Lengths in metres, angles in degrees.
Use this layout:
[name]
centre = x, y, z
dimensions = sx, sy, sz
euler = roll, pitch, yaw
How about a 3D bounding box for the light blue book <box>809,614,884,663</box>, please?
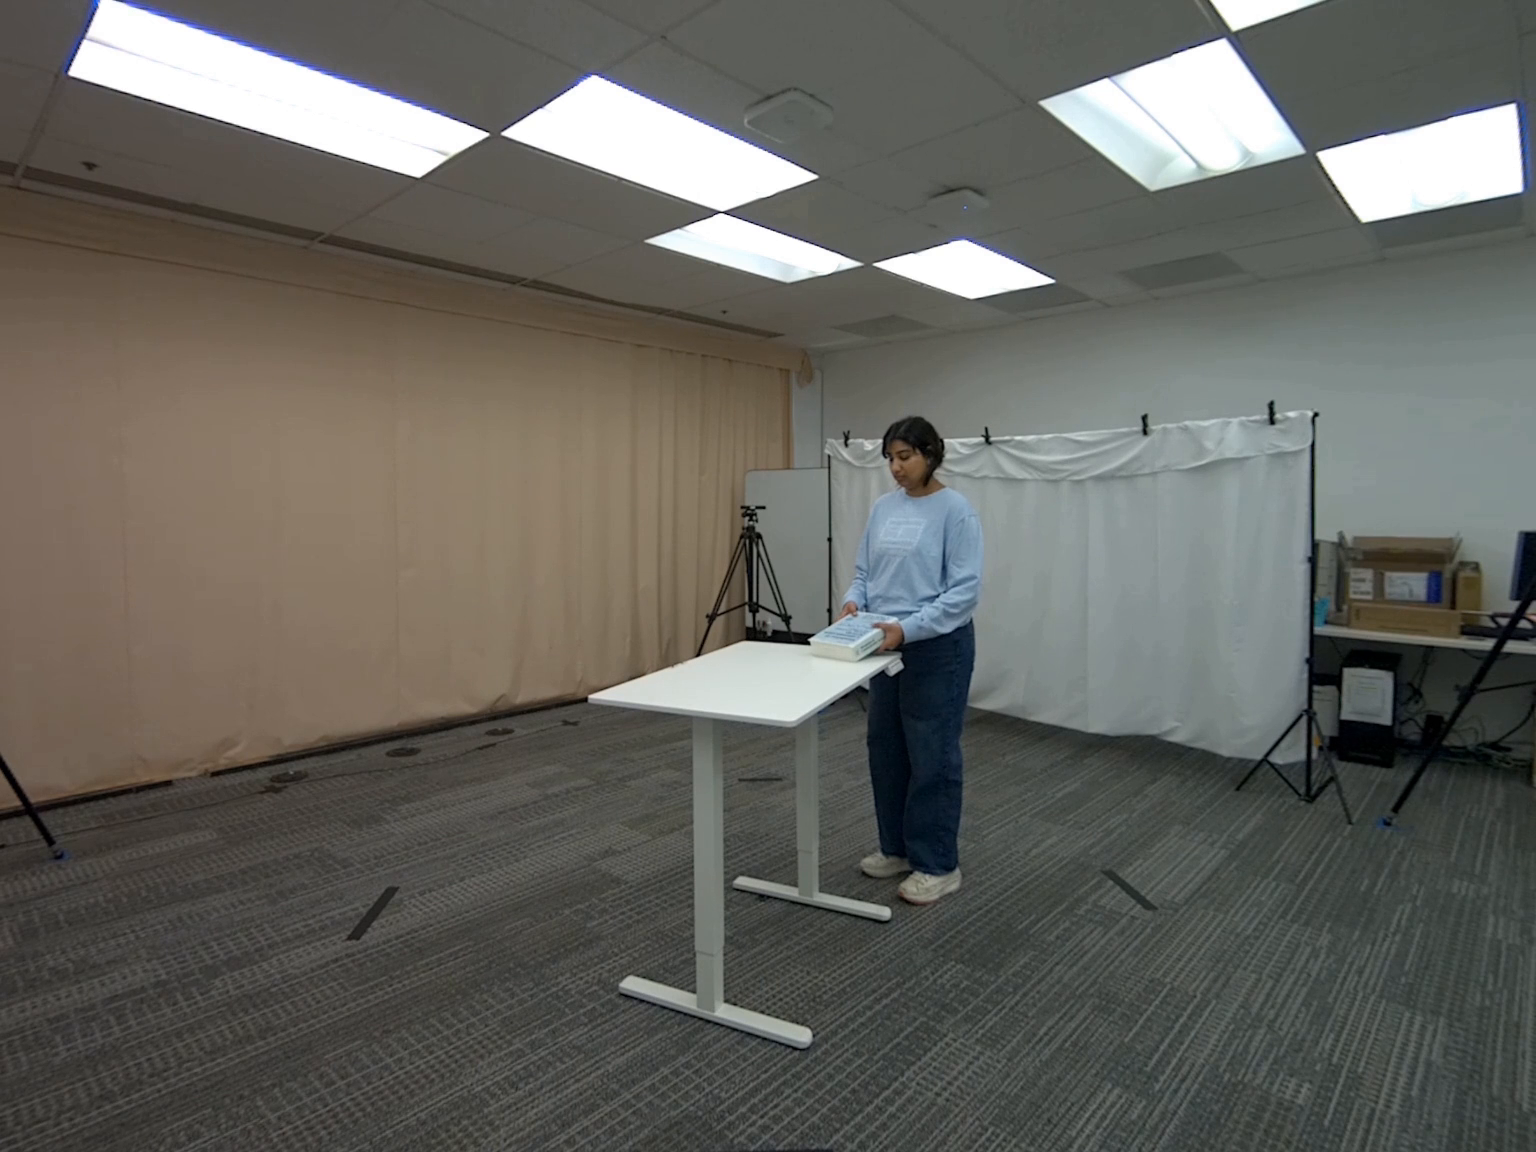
[light blue book]
centre = 0.299, 0.208, 2.857
dimensions = 0.255, 0.058, 0.198
euler = -26, 21, -40
